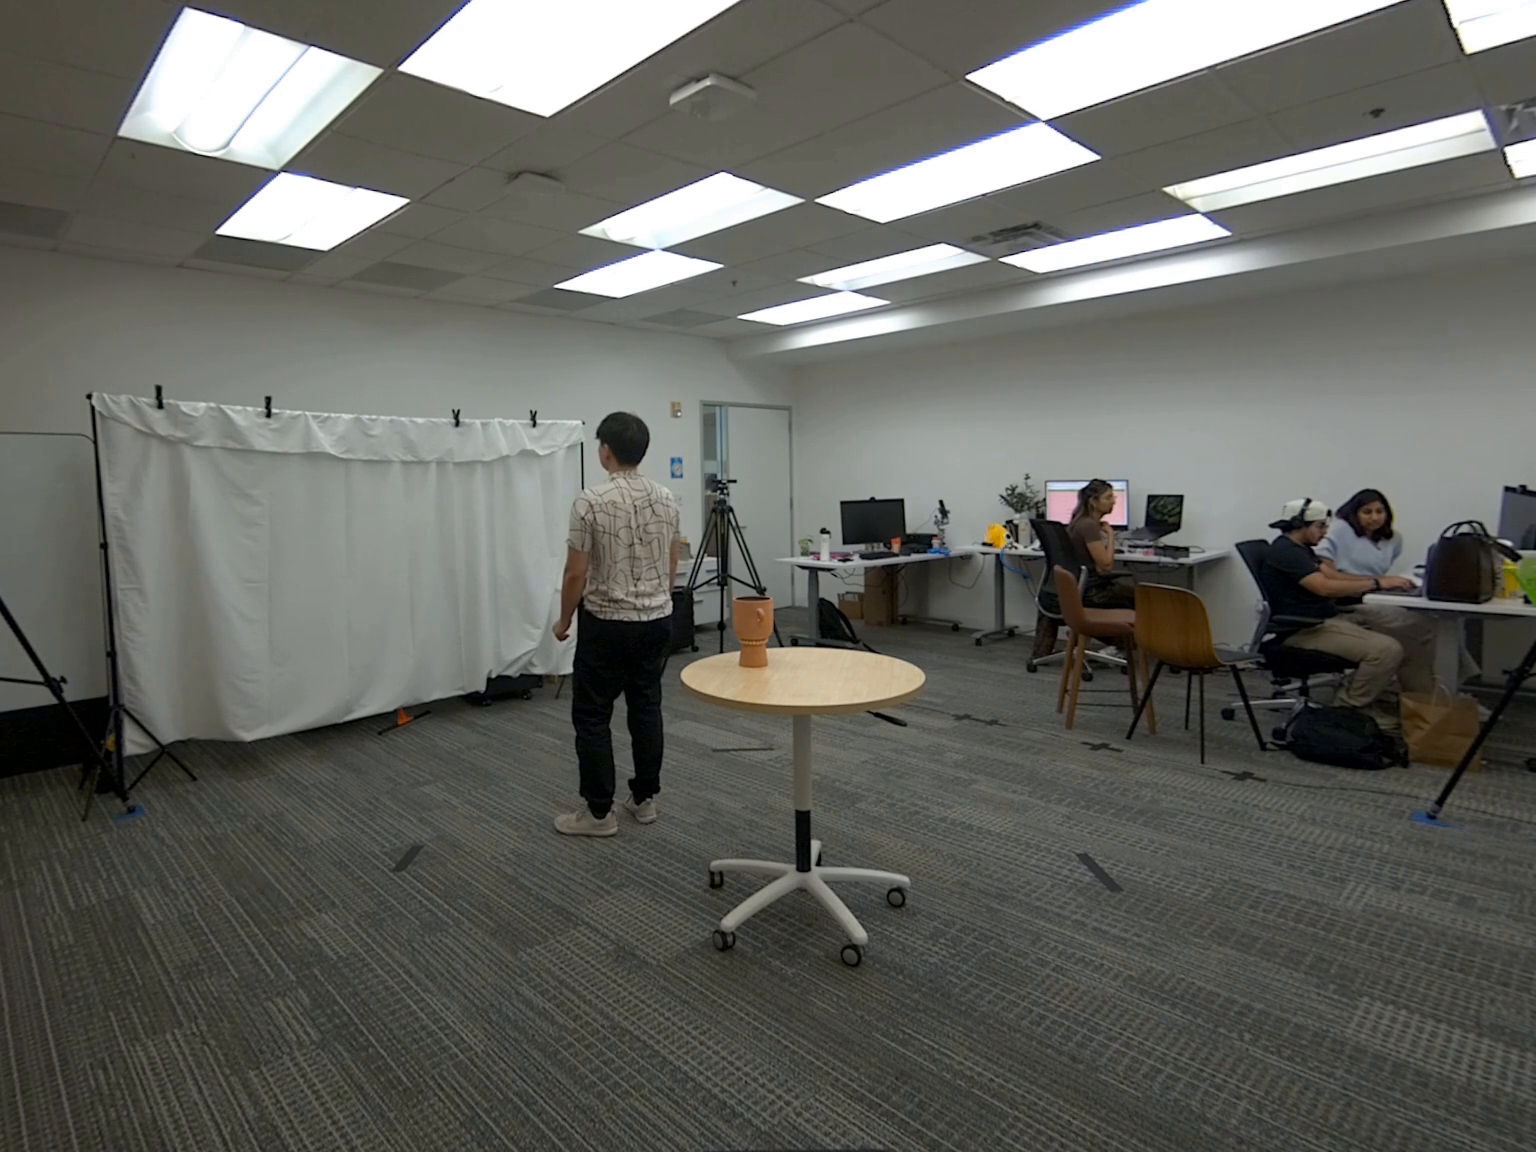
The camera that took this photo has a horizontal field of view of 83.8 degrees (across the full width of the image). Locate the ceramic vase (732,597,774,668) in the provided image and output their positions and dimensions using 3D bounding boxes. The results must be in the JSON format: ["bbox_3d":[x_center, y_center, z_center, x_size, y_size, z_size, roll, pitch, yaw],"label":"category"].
[{"bbox_3d":[-0.048,0.185,2.819,0.137,0.219,0.156,1,5,20],"label":"ceramic vase"}]
